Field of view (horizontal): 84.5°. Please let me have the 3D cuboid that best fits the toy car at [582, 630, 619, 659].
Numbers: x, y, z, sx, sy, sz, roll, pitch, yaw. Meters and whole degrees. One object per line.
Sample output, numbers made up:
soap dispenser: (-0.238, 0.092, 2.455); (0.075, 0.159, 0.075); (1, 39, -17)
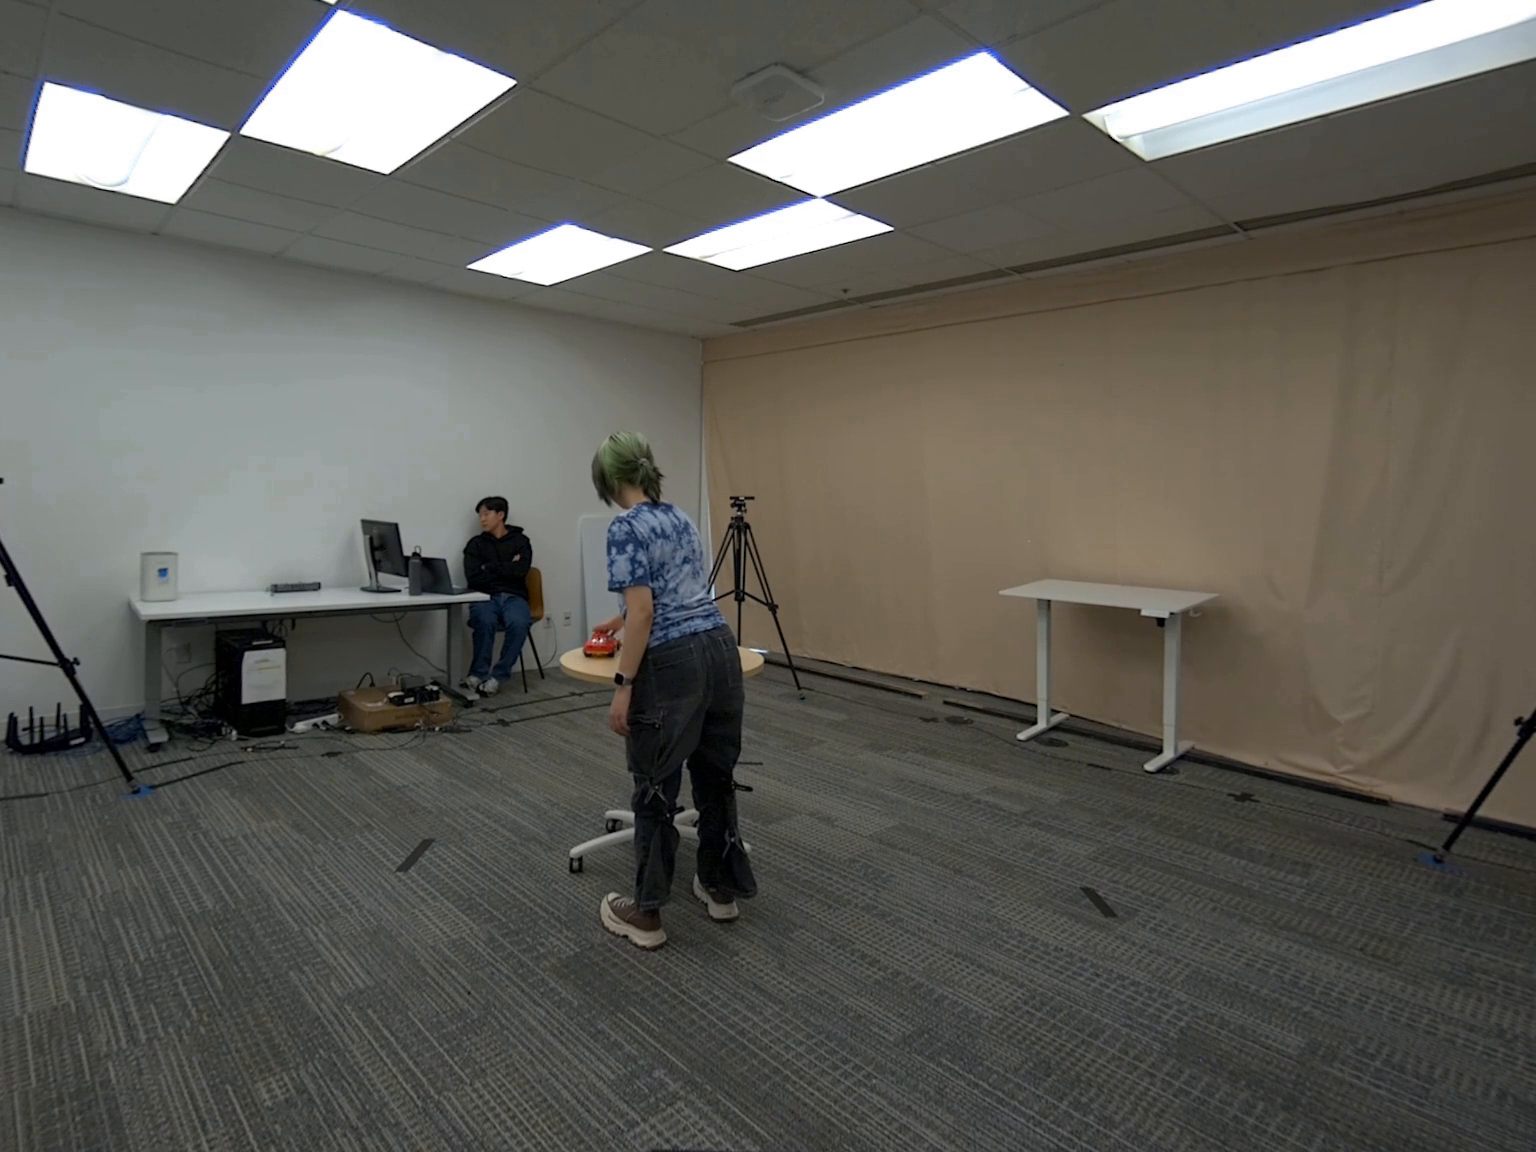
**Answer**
toy car: (-0.650, 0.270, 3.225); (0.130, 0.083, 0.253); (2, -6, 0)
